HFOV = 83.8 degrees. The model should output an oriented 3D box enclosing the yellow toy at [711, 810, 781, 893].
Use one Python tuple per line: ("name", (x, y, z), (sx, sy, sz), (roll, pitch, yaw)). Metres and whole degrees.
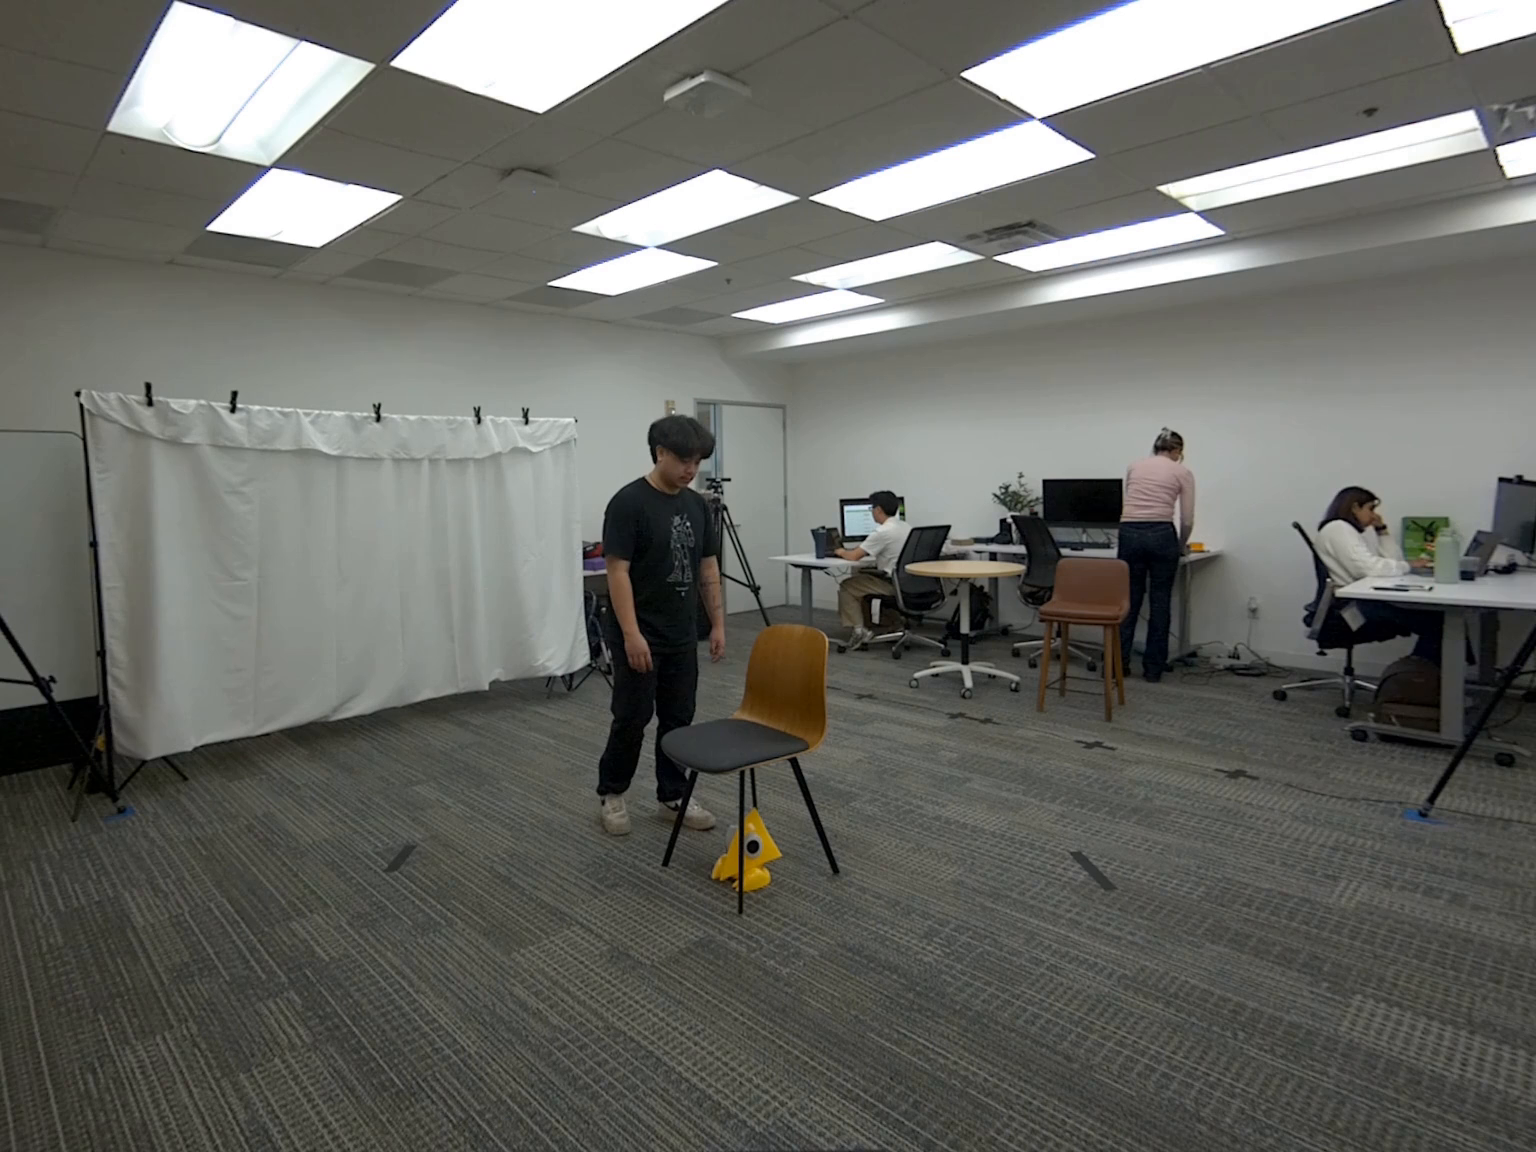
("yellow toy", (-0.085, 0.945, 2.991), (0.188, 0.230, 0.211), (-6, 6, -43))
